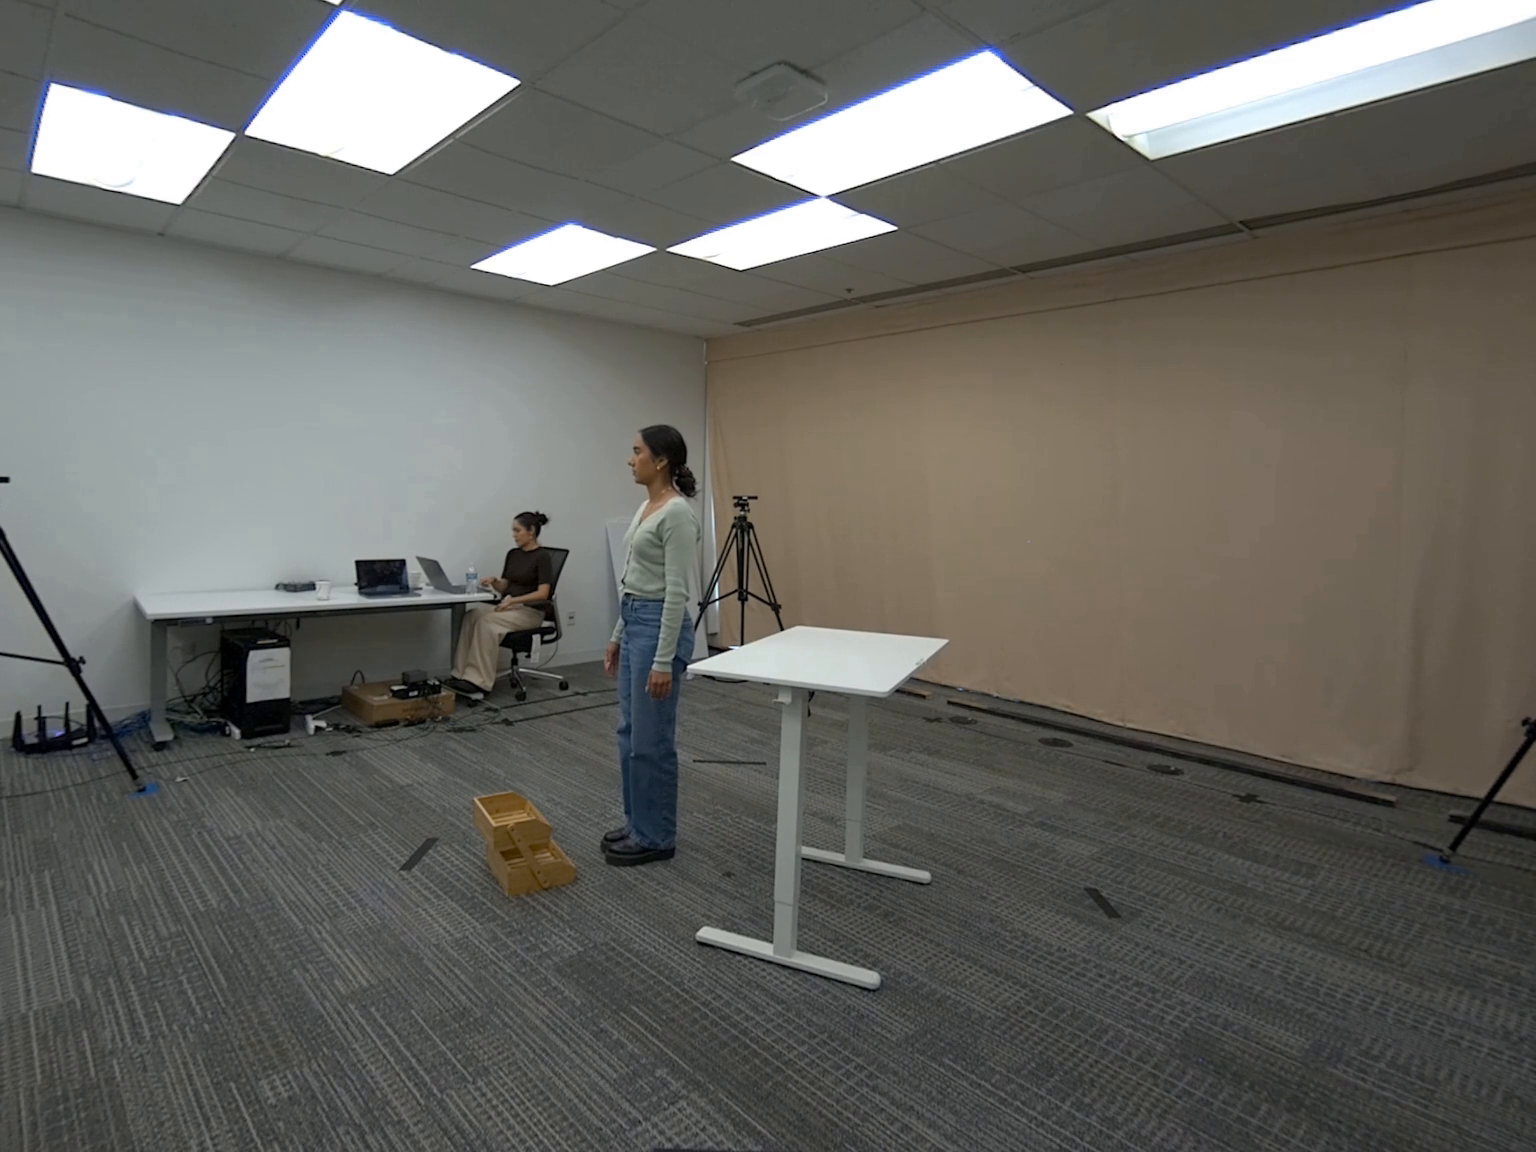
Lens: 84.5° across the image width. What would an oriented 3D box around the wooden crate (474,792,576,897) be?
[{"bbox_3d":[-0.899,0.957,3.062,0.296,0.272,0.332,-2,6,-32],"label":"wooden crate"}]
